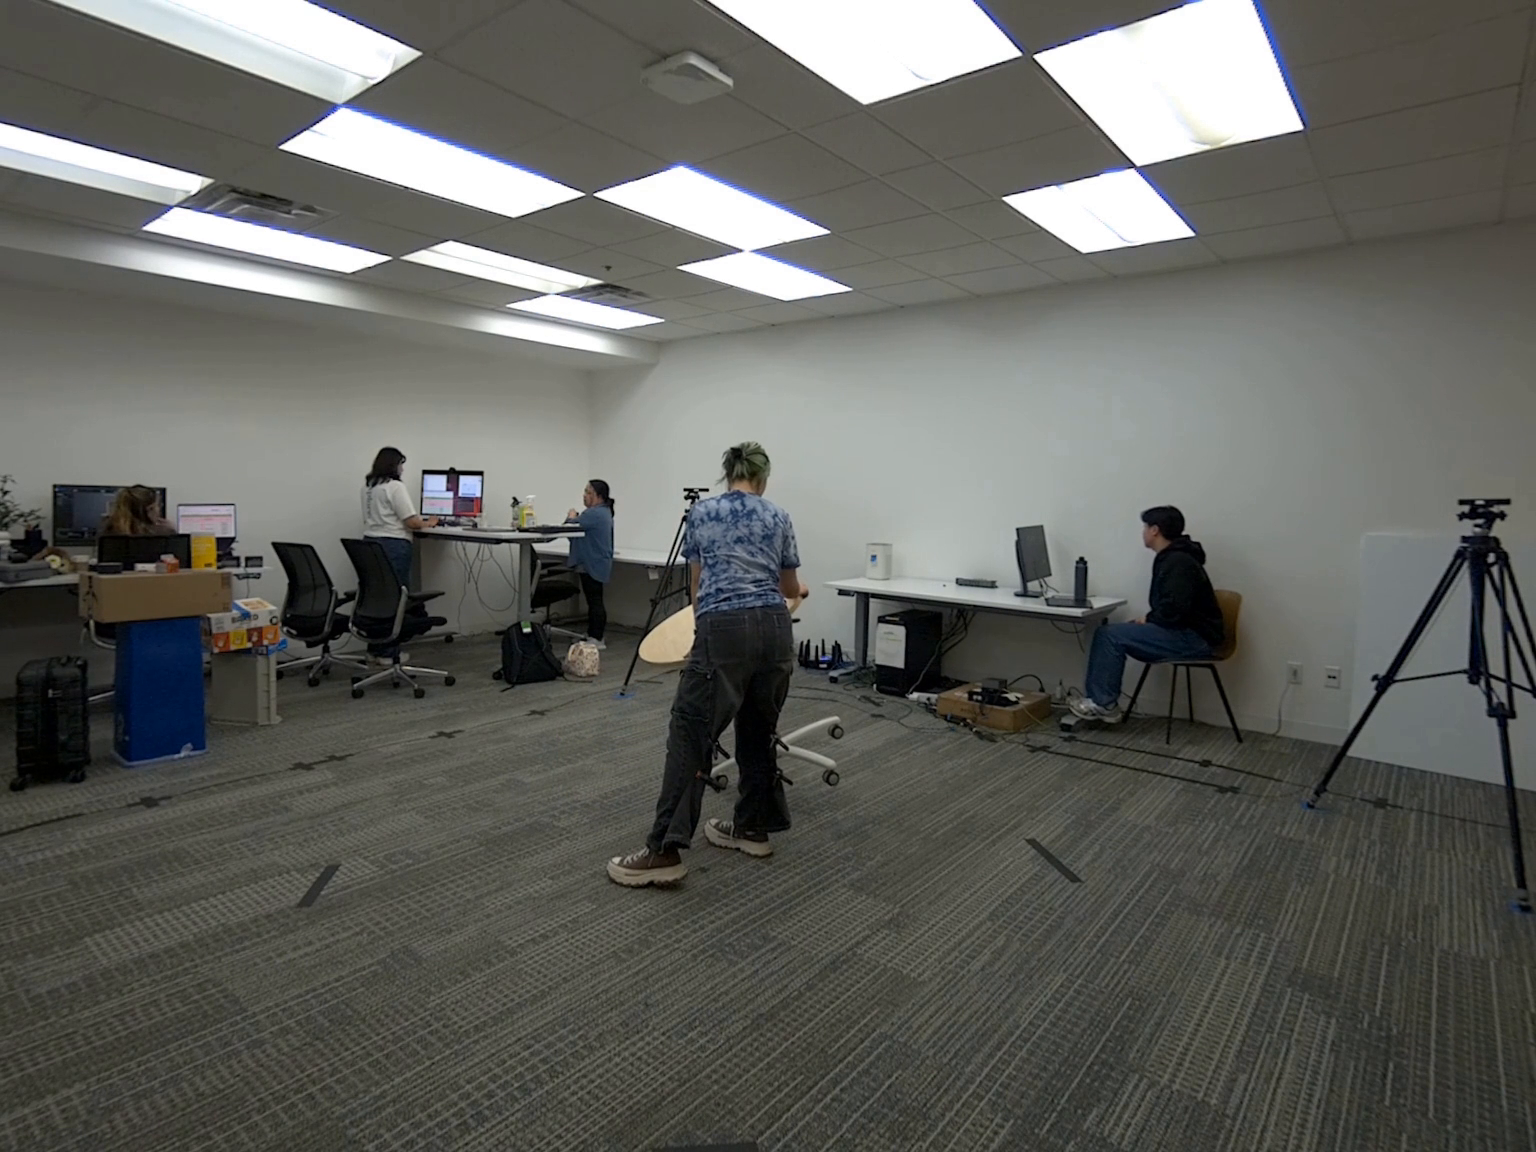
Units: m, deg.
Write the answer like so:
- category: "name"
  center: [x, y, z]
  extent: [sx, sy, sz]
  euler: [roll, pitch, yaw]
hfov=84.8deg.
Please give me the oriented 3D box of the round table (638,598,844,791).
- category: "round table"
  center: [-0.076, 0.535, 3.826]
  extent: [0.766, 0.781, 0.775]
  euler: [-21, 14, 4]
